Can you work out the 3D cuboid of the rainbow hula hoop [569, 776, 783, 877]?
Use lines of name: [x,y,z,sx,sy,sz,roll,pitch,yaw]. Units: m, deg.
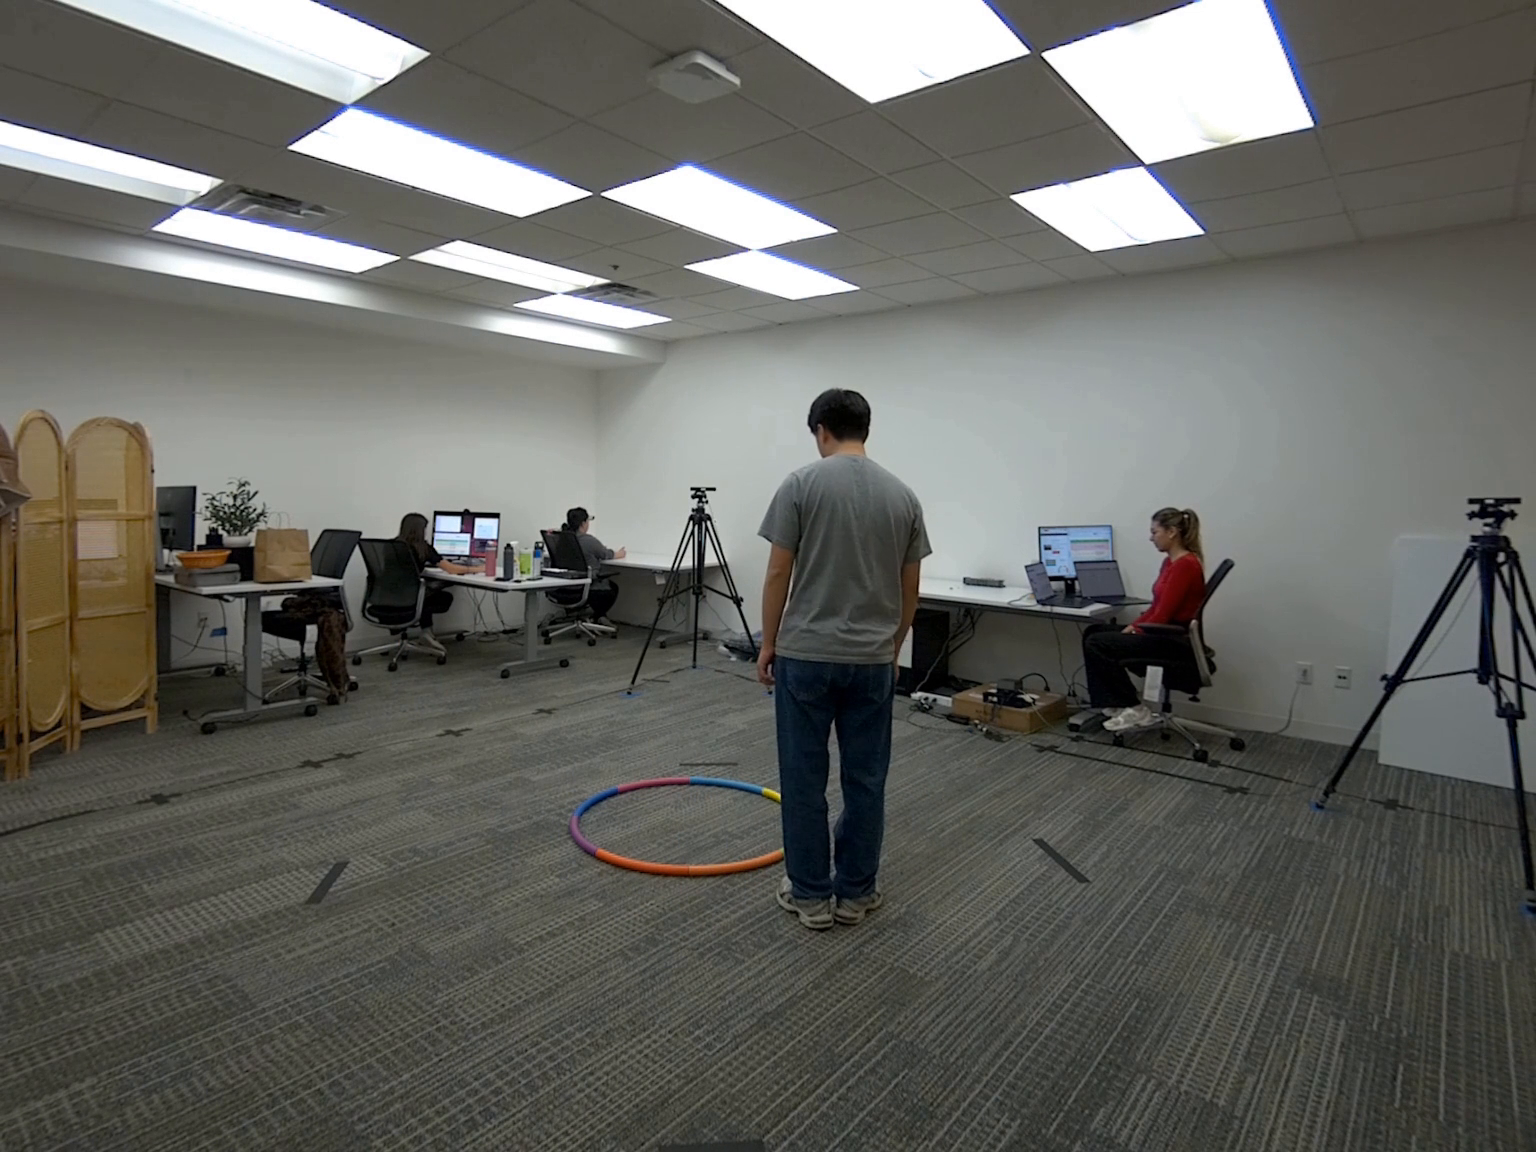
rainbow hula hoop: [-0.334,0.992,3.513,0.978,0.035,0.984,1,6,-2]
